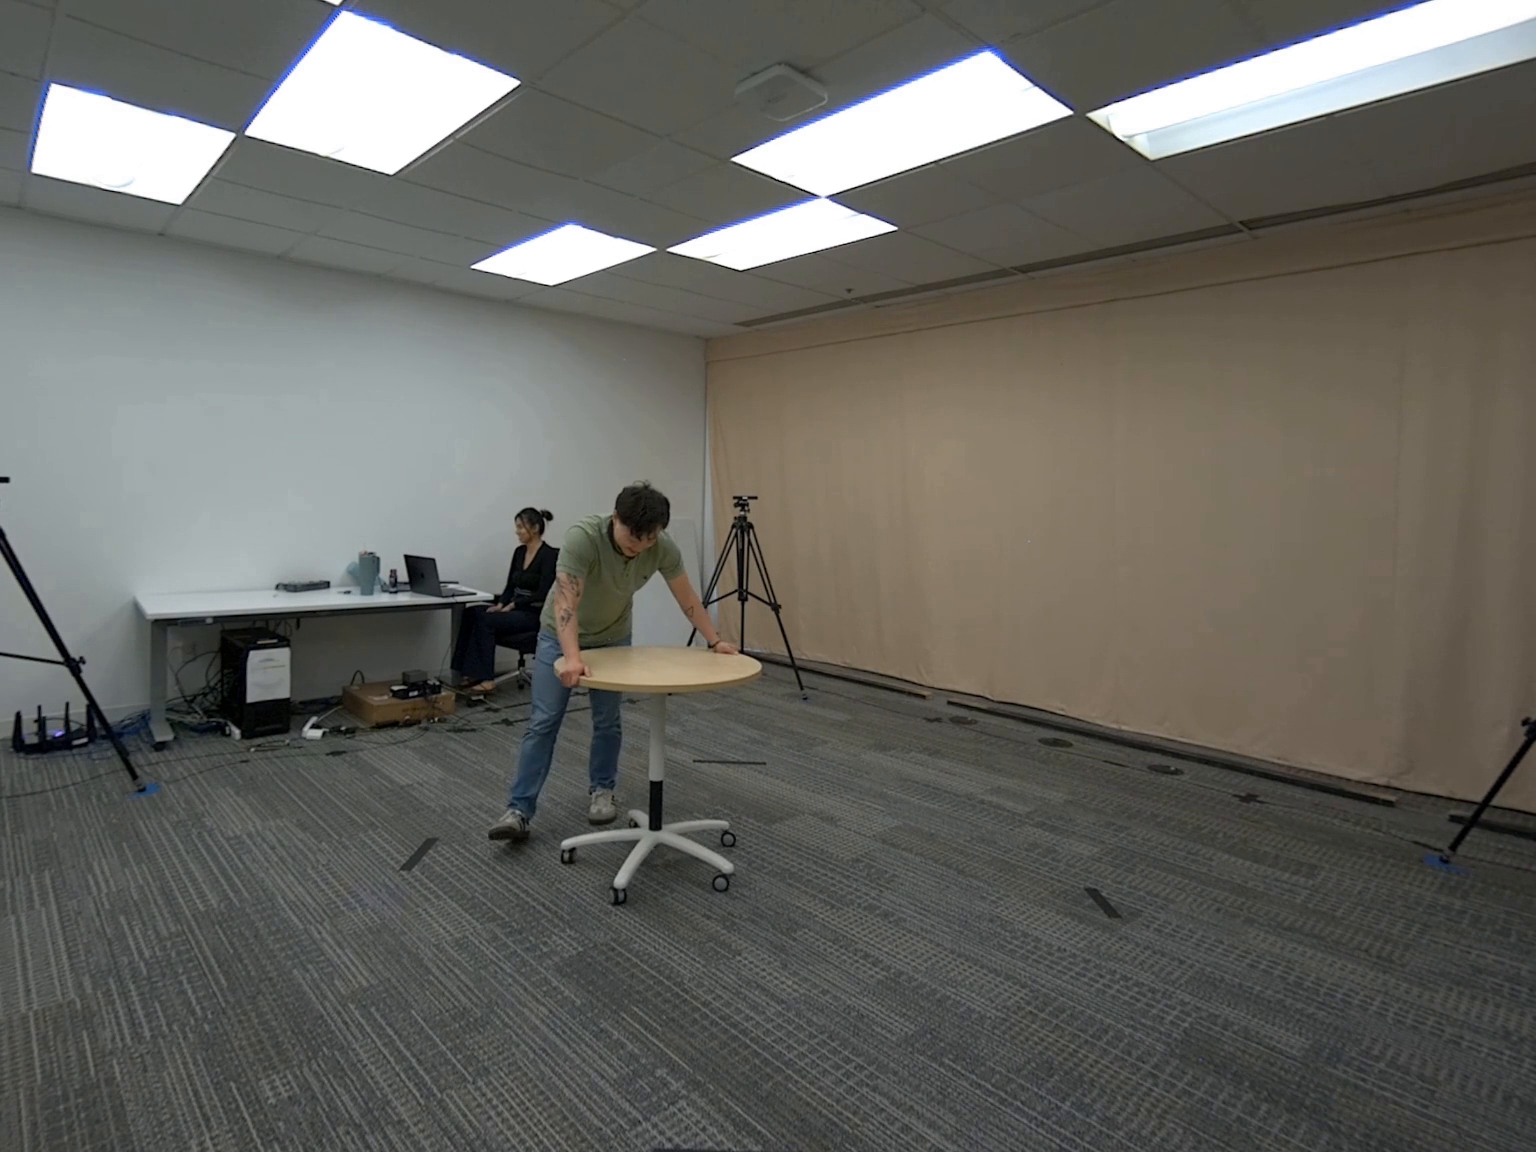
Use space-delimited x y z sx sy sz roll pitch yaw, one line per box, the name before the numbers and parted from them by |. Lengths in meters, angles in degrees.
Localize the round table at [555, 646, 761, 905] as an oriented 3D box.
round table | -0.424 0.711 3.148 0.763 0.792 0.766 1 4 -1
